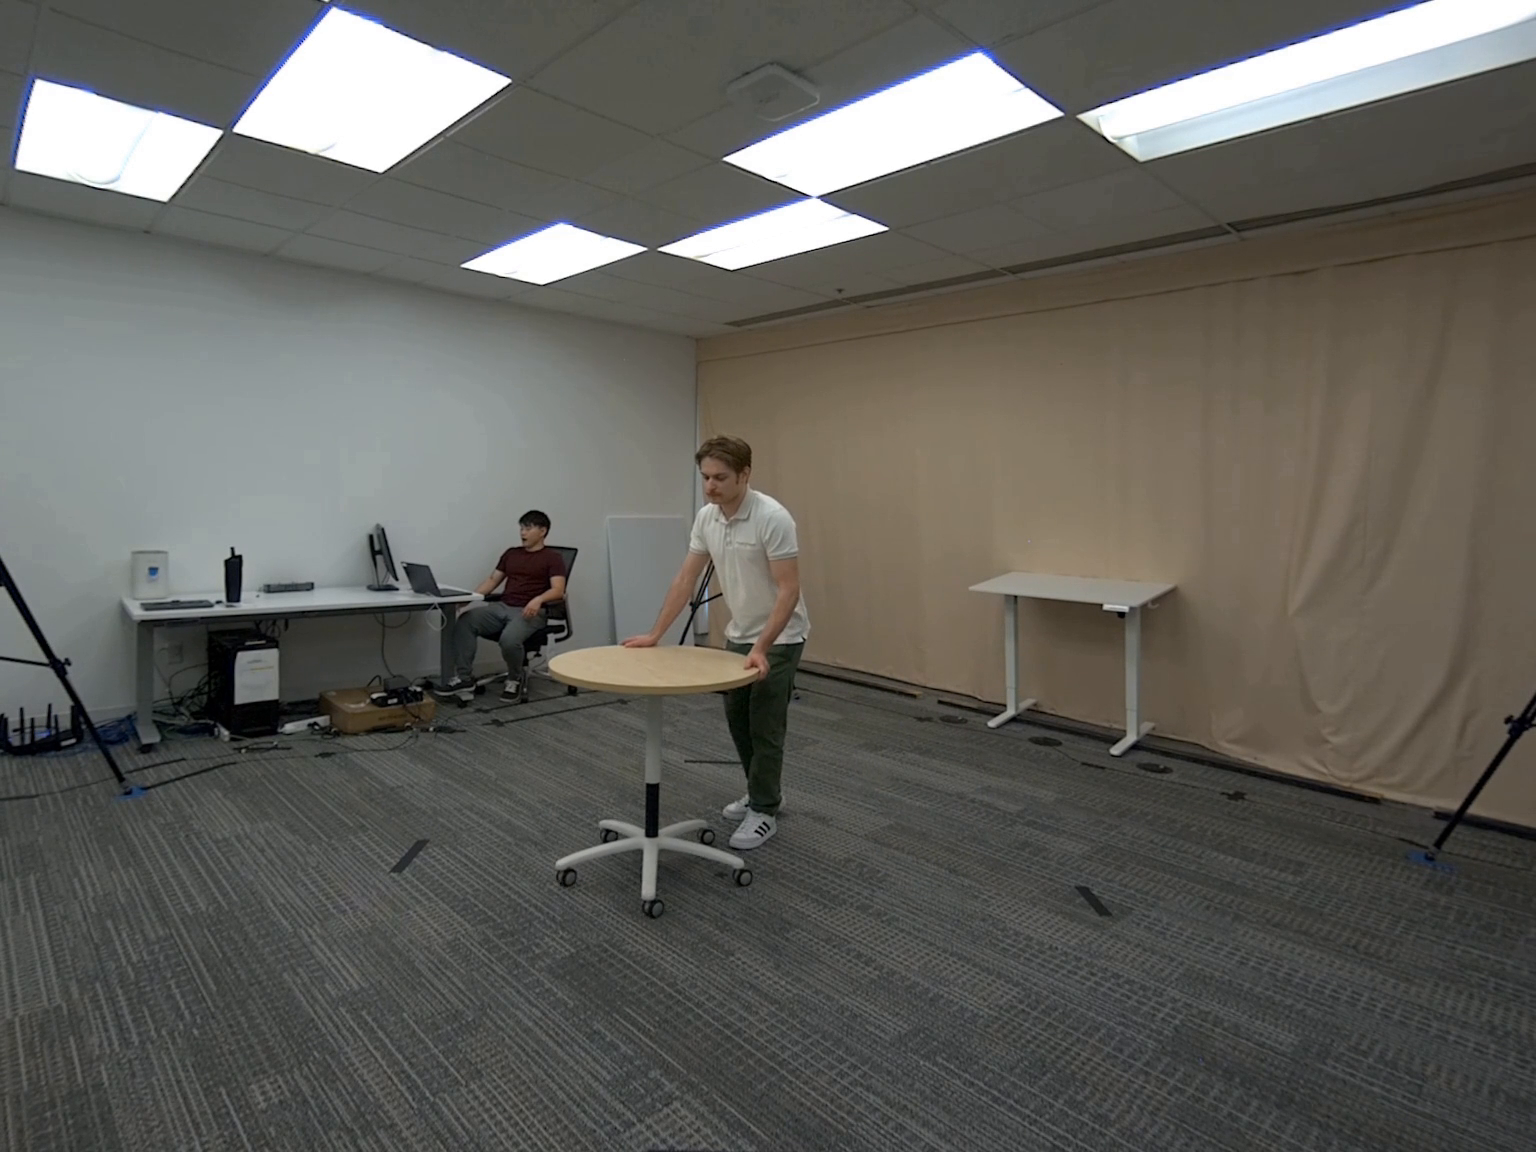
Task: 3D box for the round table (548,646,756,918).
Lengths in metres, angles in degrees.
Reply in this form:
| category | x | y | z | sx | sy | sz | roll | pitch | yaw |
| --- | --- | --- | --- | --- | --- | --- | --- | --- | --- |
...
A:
| category | x | y | z | sx | sy | sz | roll | pitch | yaw |
| --- | --- | --- | --- | --- | --- | --- | --- | --- | --- |
| round table | -0.427 | 0.710 | 3.083 | 0.763 | 0.792 | 0.766 | 1 | 4 | -1 |
